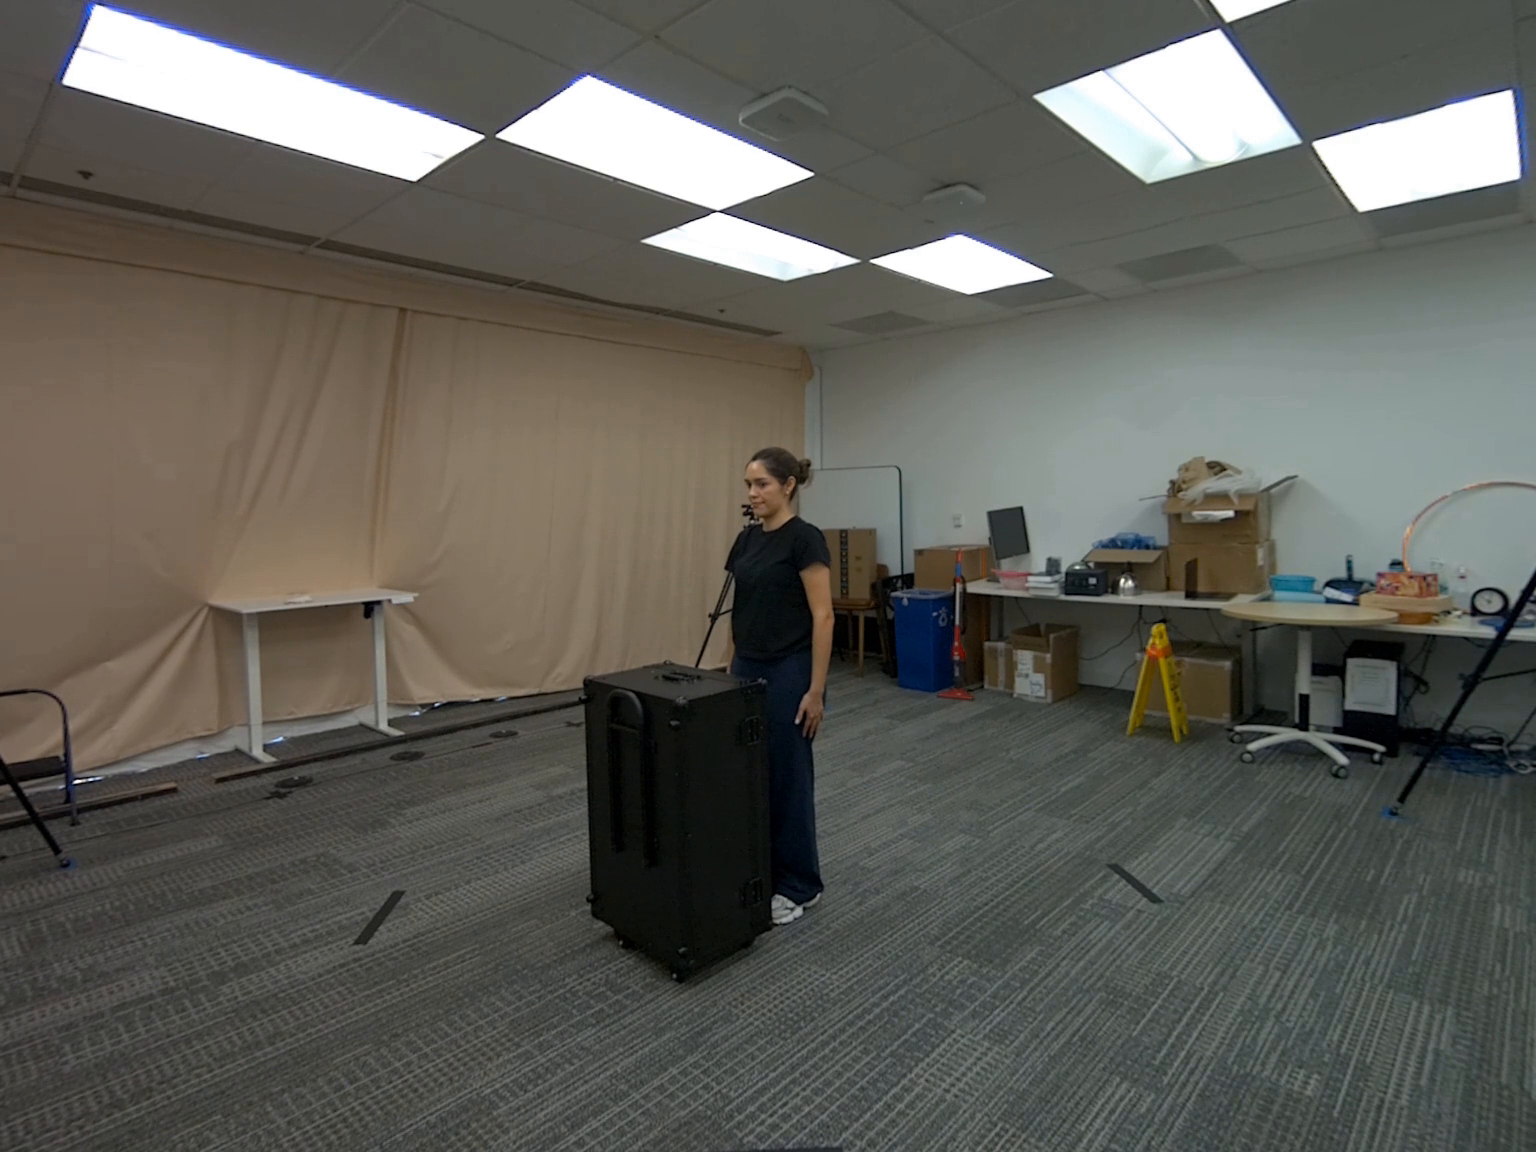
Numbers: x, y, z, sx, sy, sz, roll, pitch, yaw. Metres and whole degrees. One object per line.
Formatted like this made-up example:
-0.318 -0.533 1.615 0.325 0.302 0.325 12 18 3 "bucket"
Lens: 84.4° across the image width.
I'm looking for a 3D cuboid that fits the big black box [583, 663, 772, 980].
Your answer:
-0.278 0.752 2.648 0.384 0.859 0.538 -6 6 -44 "big black box"
